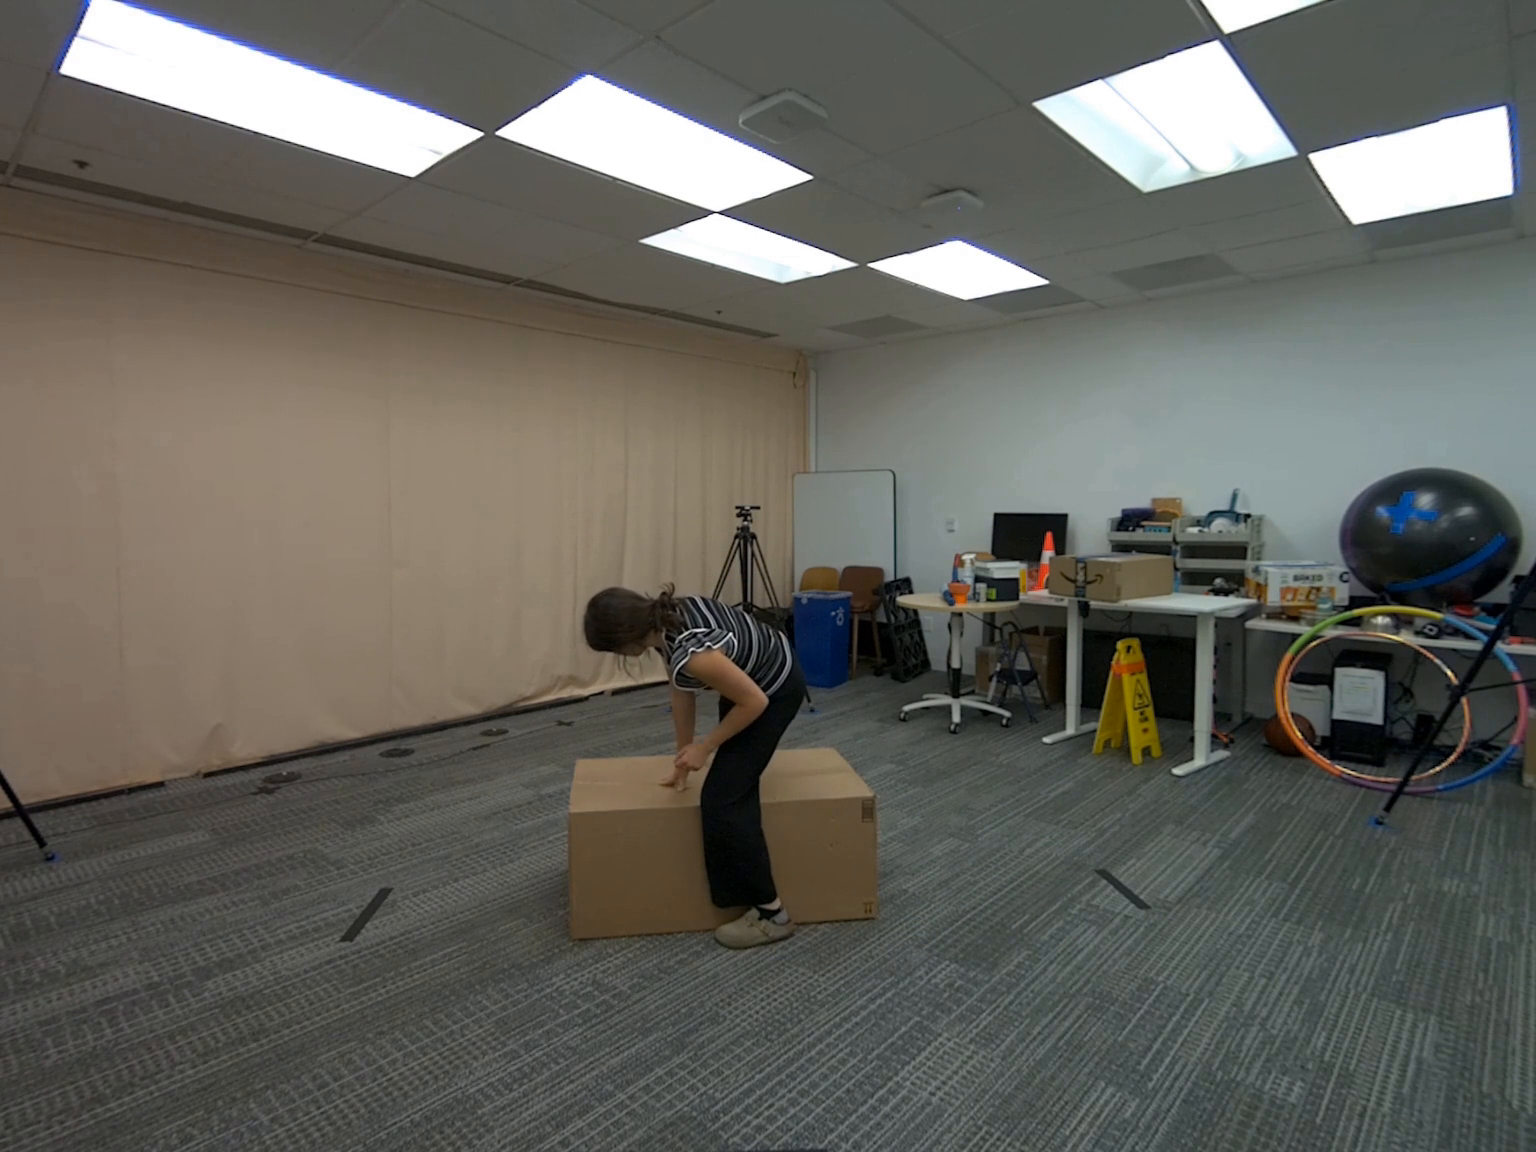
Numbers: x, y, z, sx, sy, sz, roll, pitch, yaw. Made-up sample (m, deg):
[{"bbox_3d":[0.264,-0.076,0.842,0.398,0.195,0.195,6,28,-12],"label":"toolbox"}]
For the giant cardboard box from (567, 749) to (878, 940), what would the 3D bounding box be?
[{"bbox_3d":[-0.187,0.933,3.037,1.018,0.425,0.583,-1,4,-8],"label":"giant cardboard box"}]
